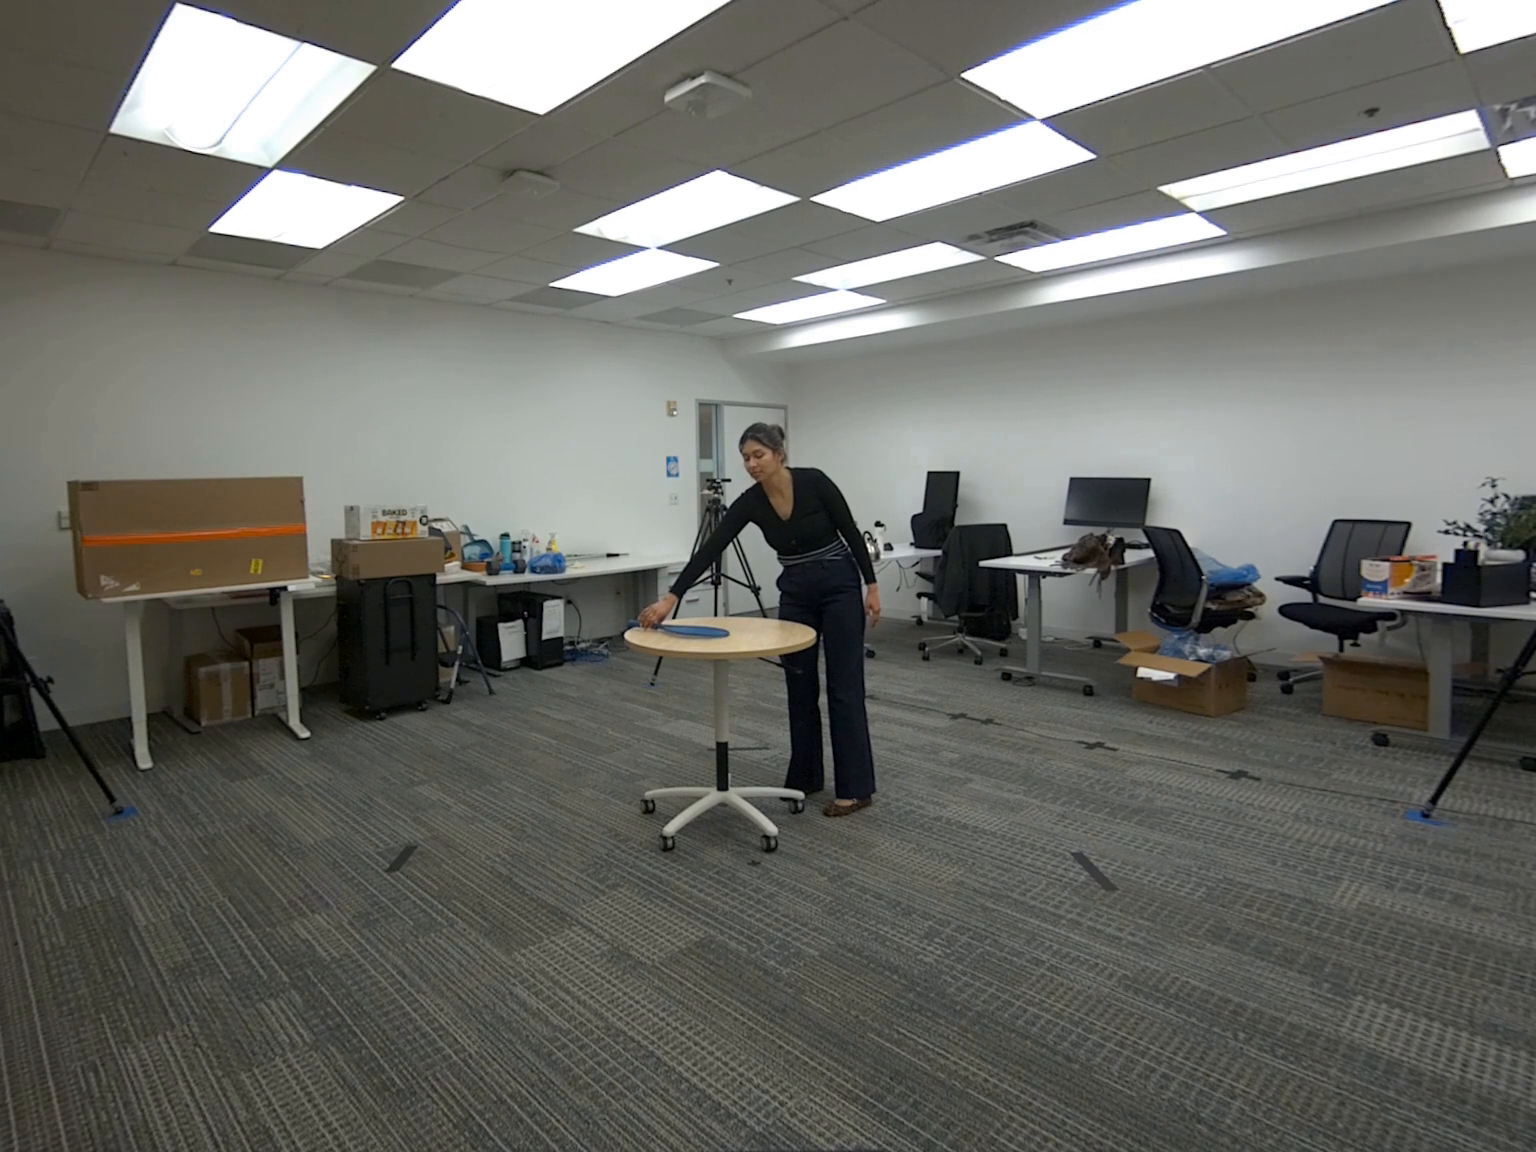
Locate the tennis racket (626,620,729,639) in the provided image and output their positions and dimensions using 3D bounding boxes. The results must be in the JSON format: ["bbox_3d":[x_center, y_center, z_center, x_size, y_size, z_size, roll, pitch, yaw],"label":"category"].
[{"bbox_3d":[-0.359,0.214,3.425,0.442,0.032,0.210,4,4,21],"label":"tennis racket"}]
